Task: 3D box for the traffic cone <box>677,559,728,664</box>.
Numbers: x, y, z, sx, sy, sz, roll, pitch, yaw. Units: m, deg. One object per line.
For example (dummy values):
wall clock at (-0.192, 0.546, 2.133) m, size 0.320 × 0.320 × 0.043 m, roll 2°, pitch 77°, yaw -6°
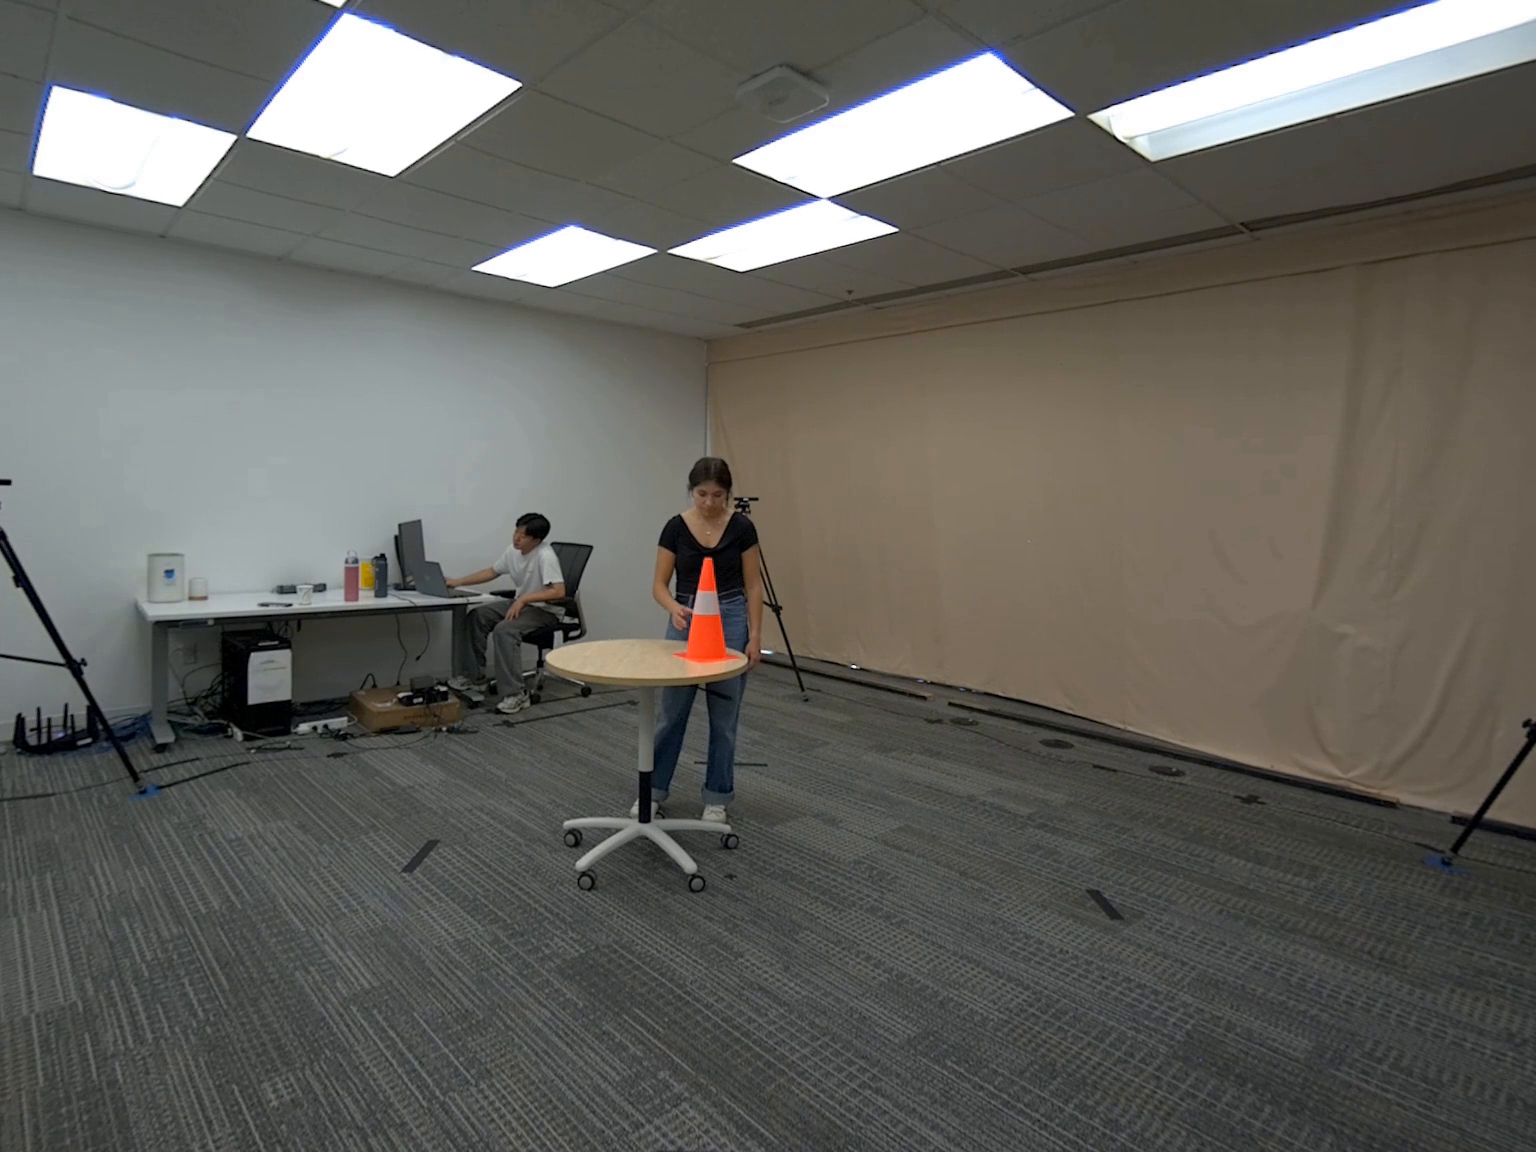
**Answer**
traffic cone at (-0.251, 0.127, 3.242) m, size 0.199 × 0.383 × 0.210 m, roll 0°, pitch 4°, yaw -36°
